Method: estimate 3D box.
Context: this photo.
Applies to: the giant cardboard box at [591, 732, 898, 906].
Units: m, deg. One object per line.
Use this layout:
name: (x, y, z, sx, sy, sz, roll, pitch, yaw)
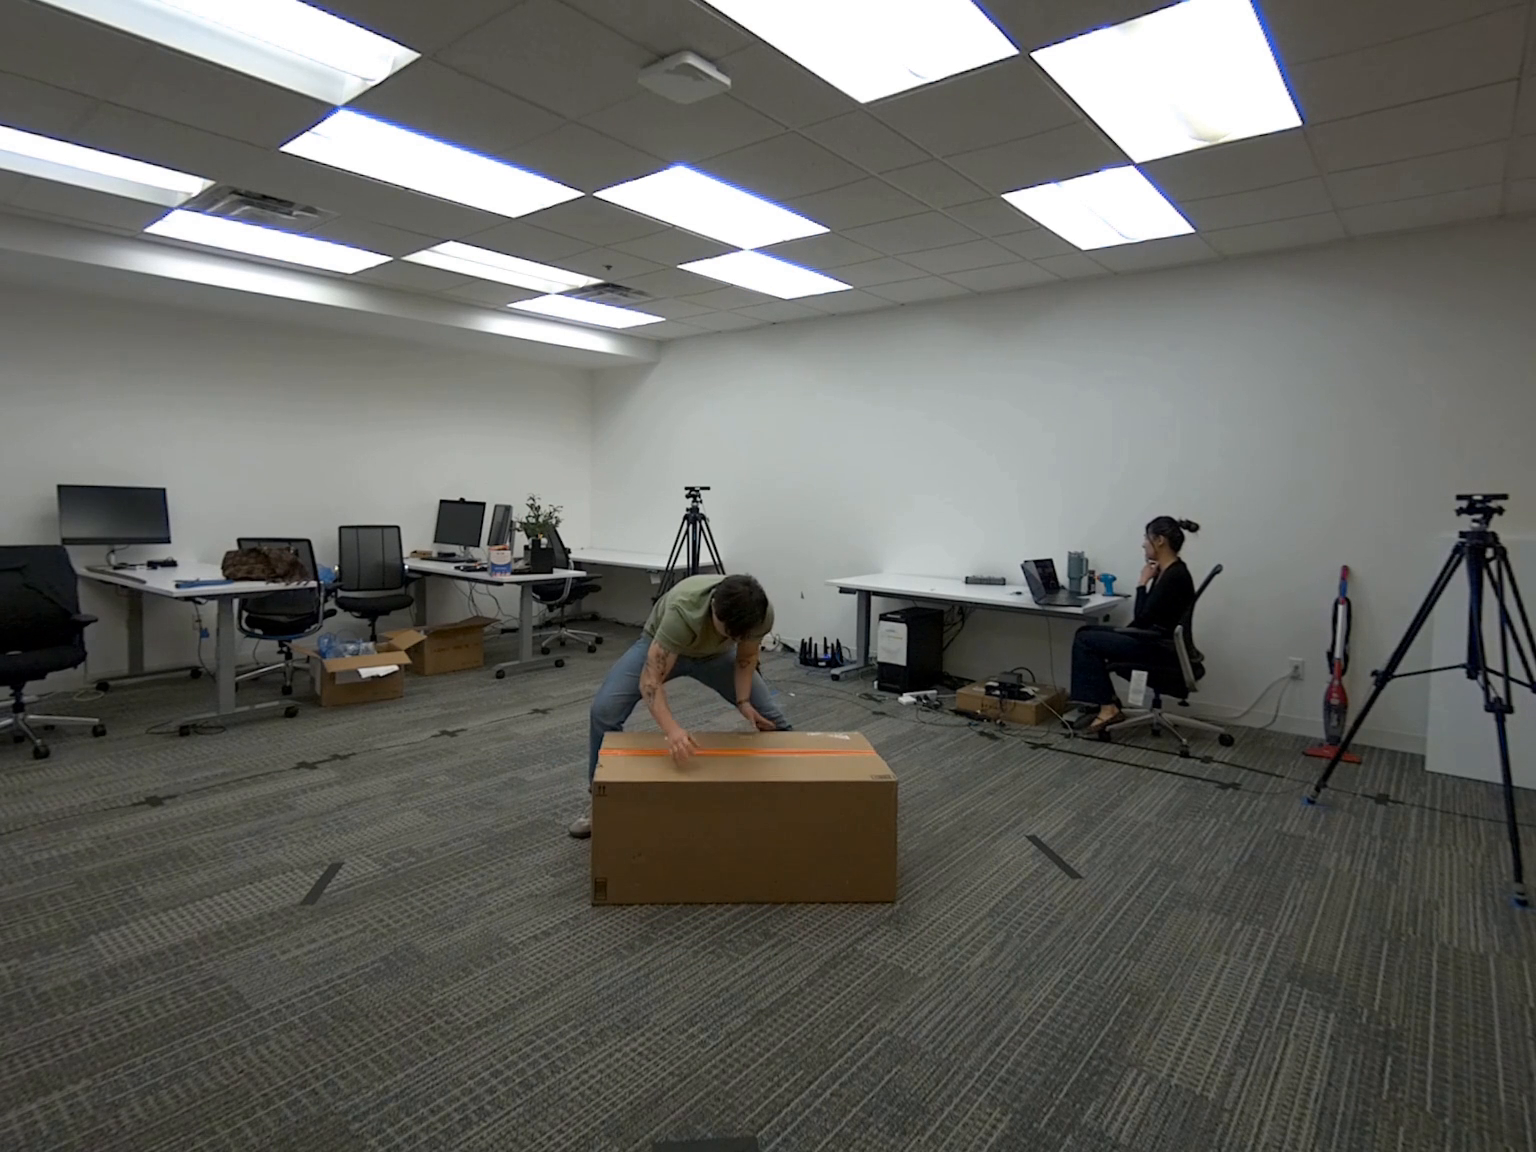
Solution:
giant cardboard box: (-0.110, 0.850, 3.105, 1.022, 0.425, 0.581, 0, 4, -4)
